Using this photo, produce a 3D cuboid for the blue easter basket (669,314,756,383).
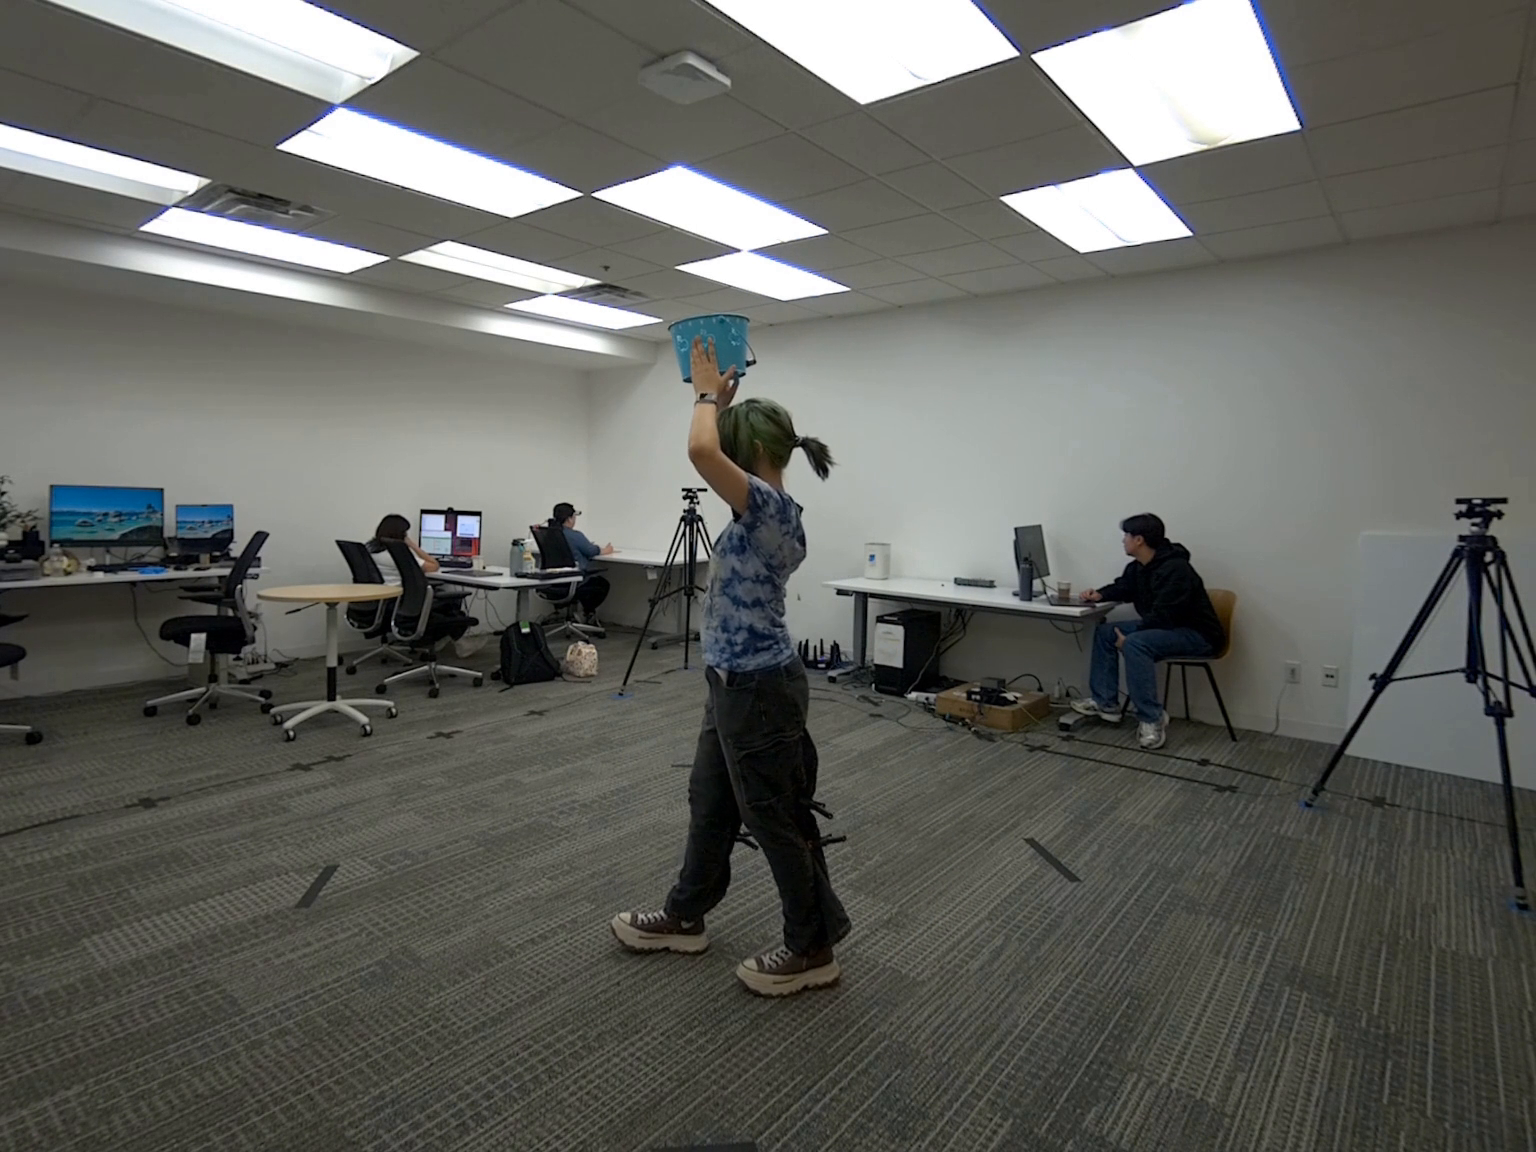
[{"bbox_3d":[-0.158,-0.641,2.386,0.243,0.155,0.244,-6,4,-1],"label":"blue easter basket"}]
